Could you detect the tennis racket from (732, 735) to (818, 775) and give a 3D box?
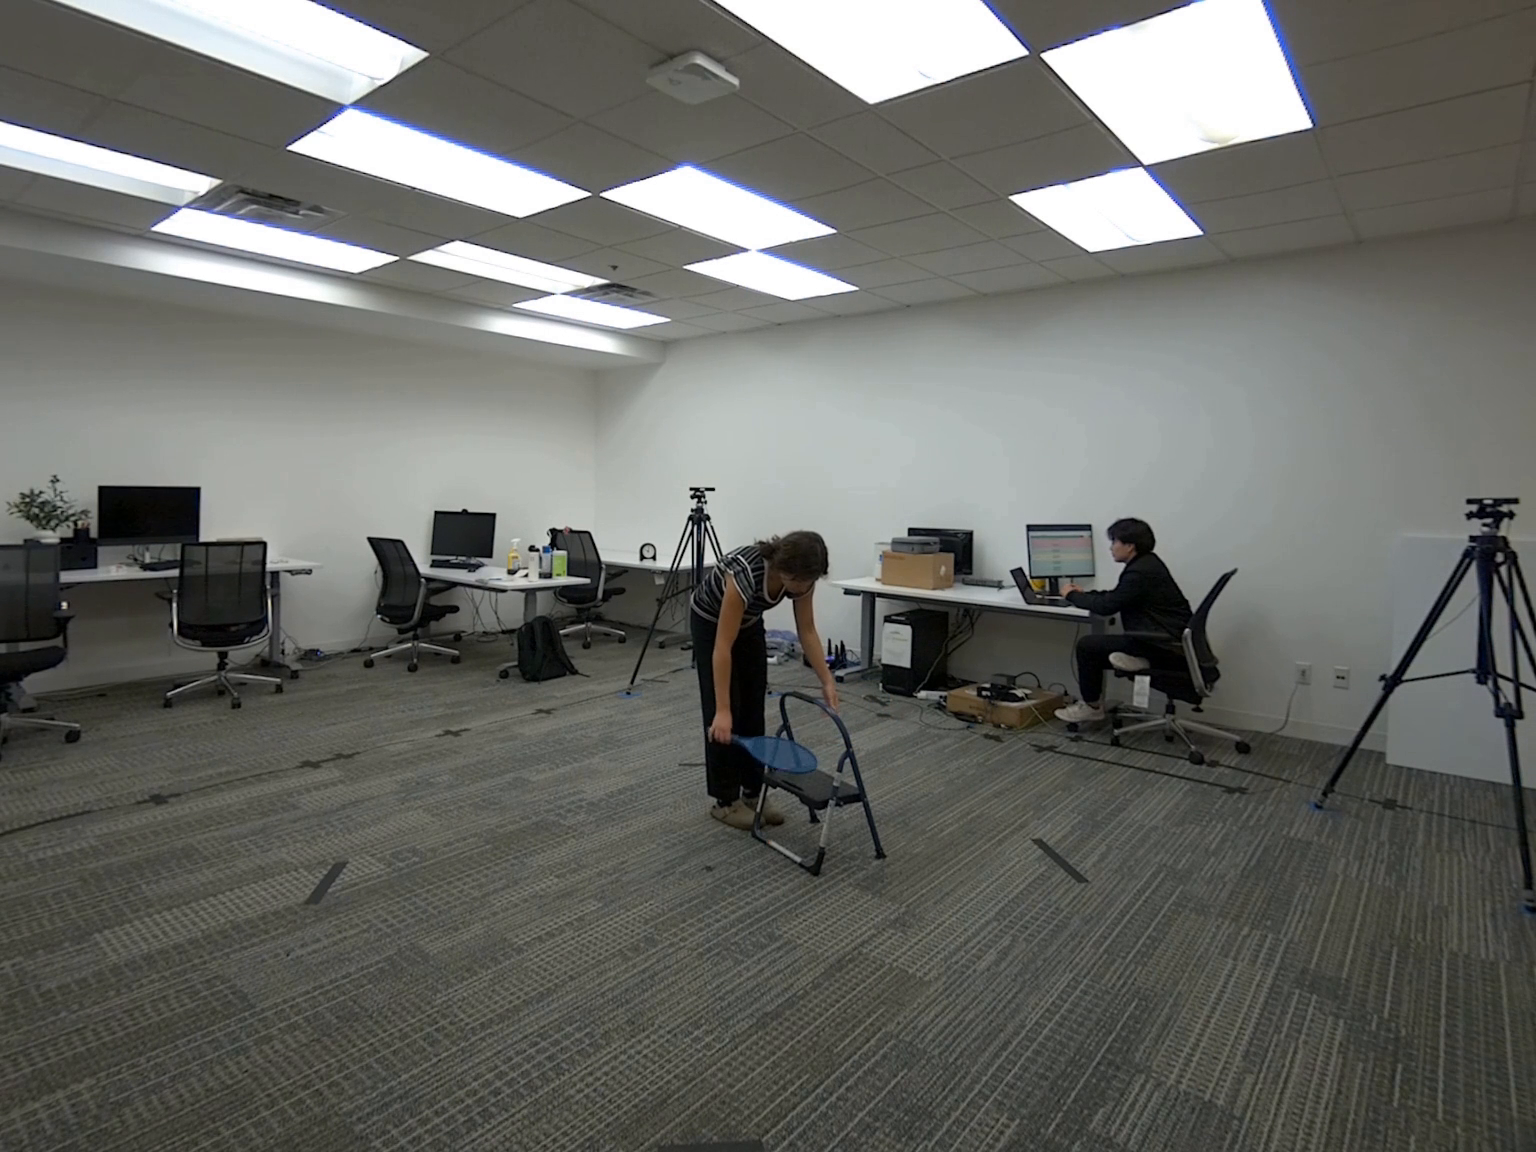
[{"bbox_3d":[-0.017,0.642,3.224,0.439,0.031,0.214,15,21,10],"label":"tennis racket"}]
